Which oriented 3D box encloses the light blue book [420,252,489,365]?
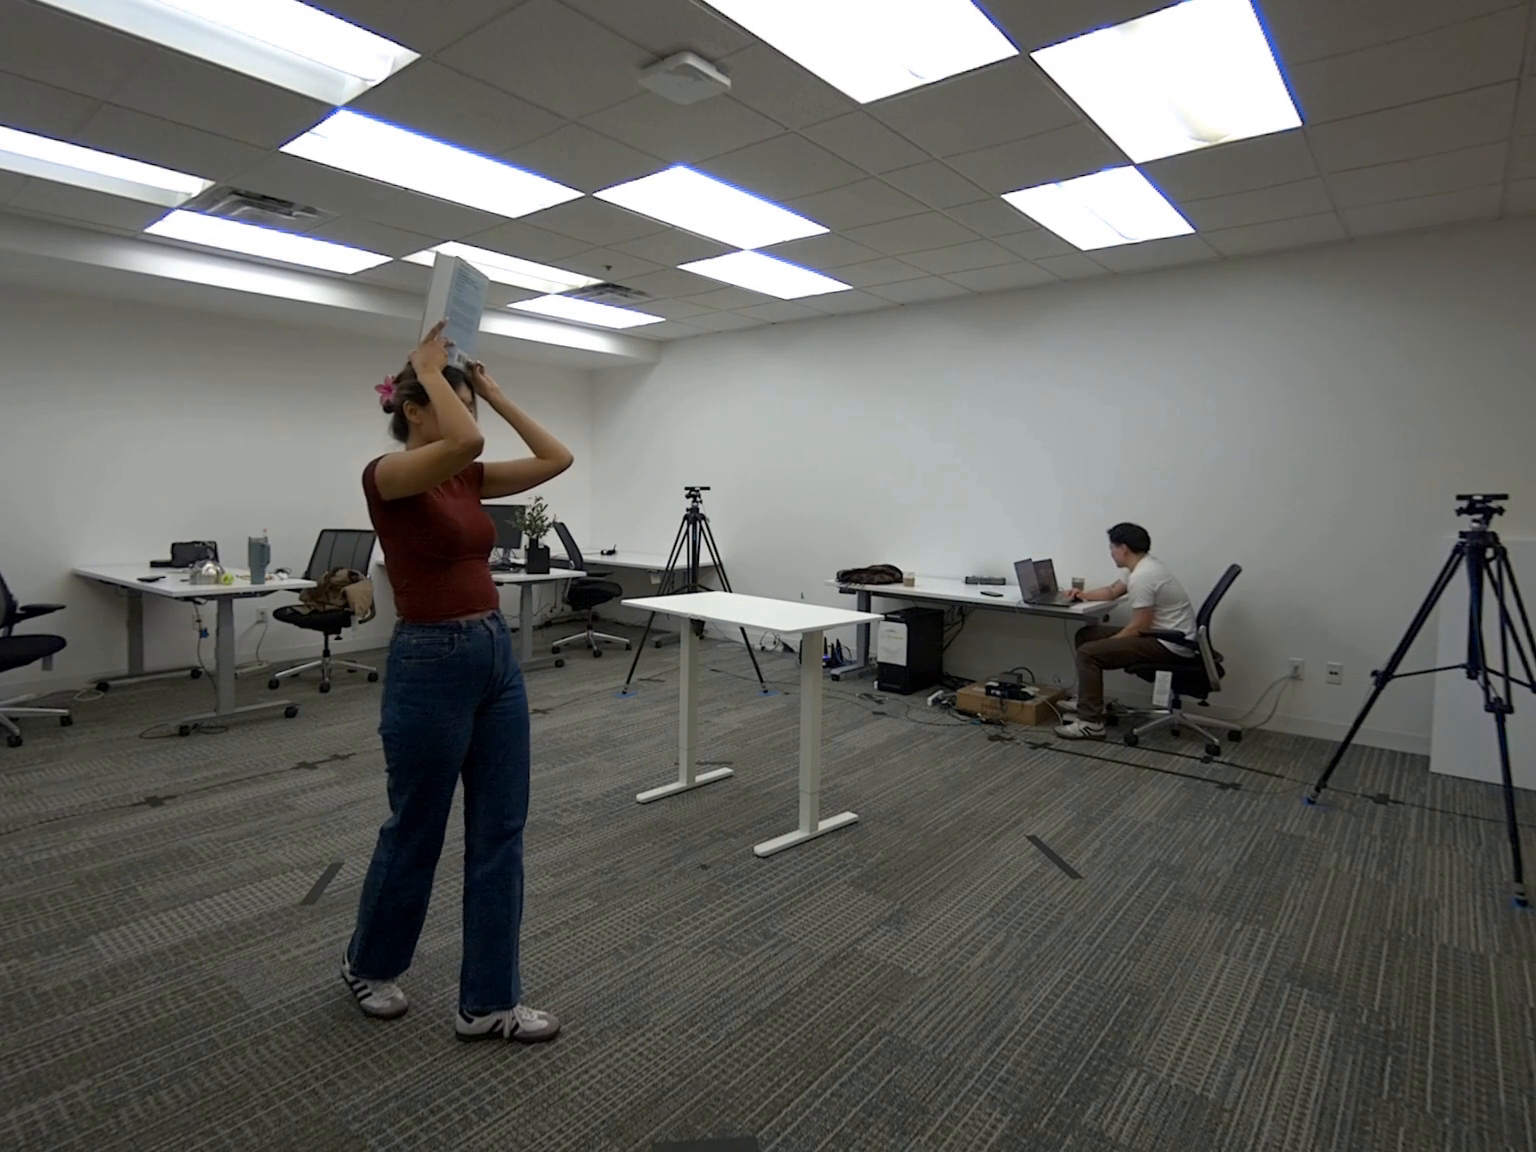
[{"bbox_3d":[-0.805,-0.657,2.144,0.059,0.261,0.190,11,2,4],"label":"light blue book"}]
